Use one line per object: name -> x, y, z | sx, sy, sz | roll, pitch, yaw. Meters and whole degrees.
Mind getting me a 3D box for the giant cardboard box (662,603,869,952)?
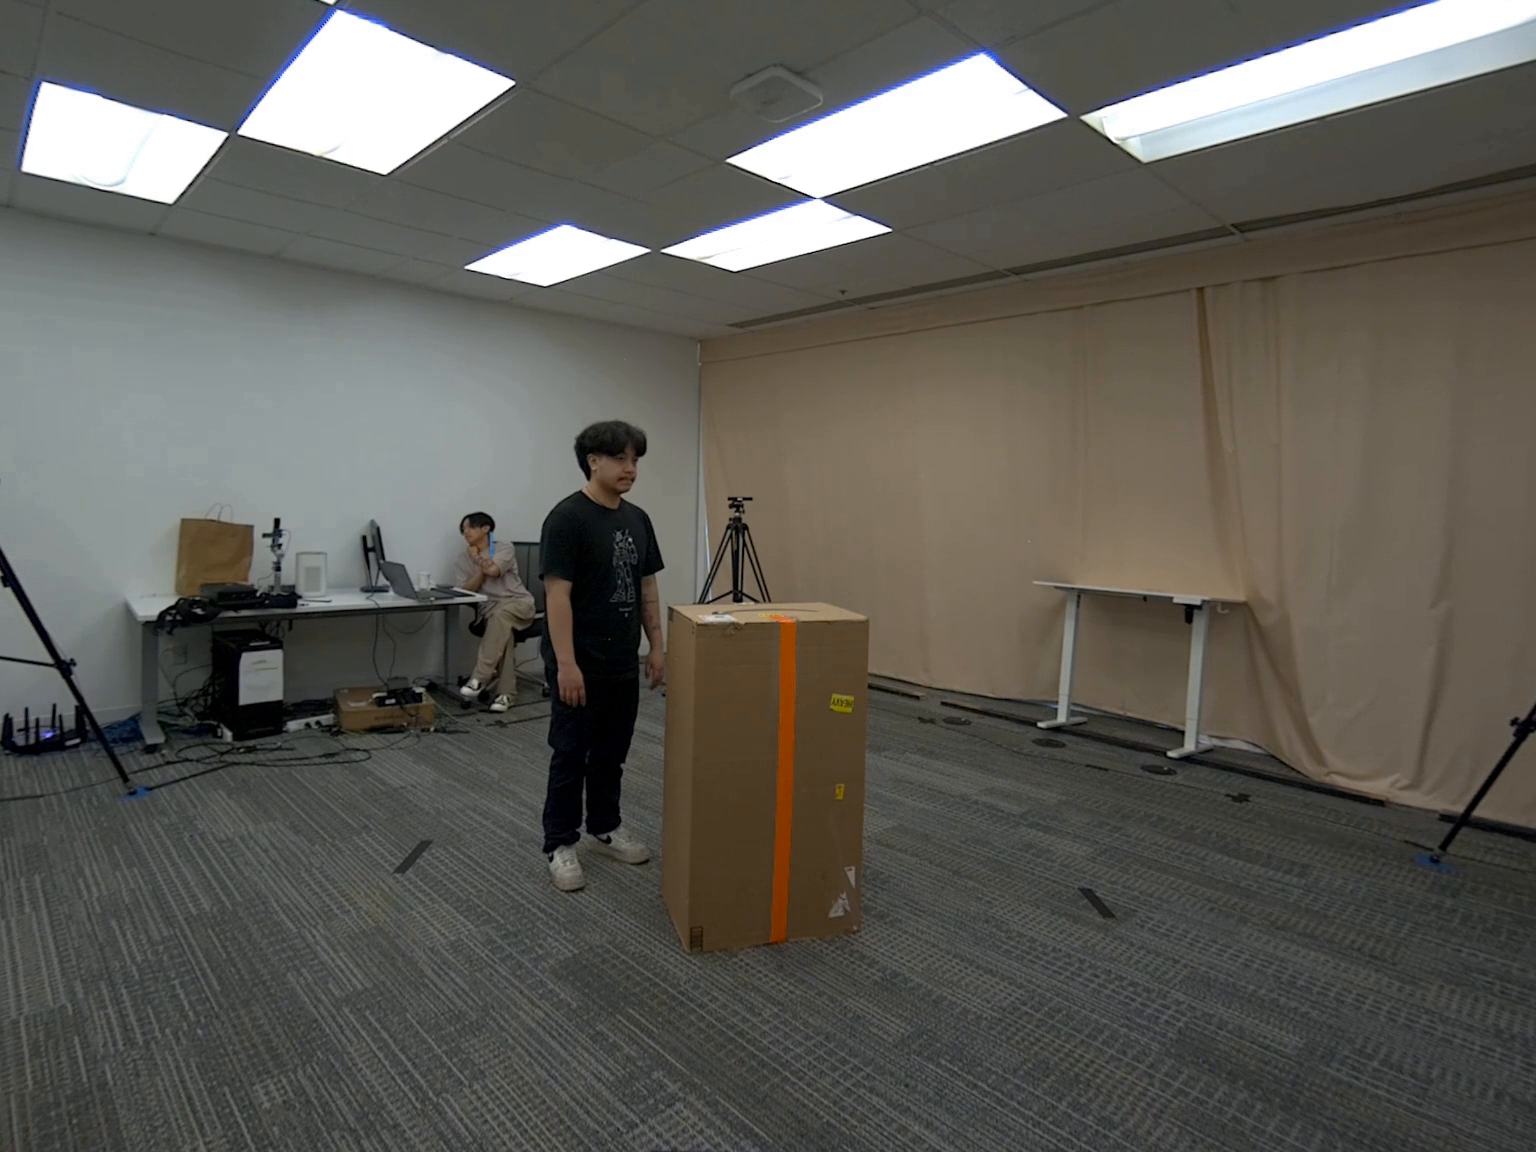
giant cardboard box -> -0.030, 0.625, 2.812 | 0.576, 1.024, 0.454 | 0, 4, -17
